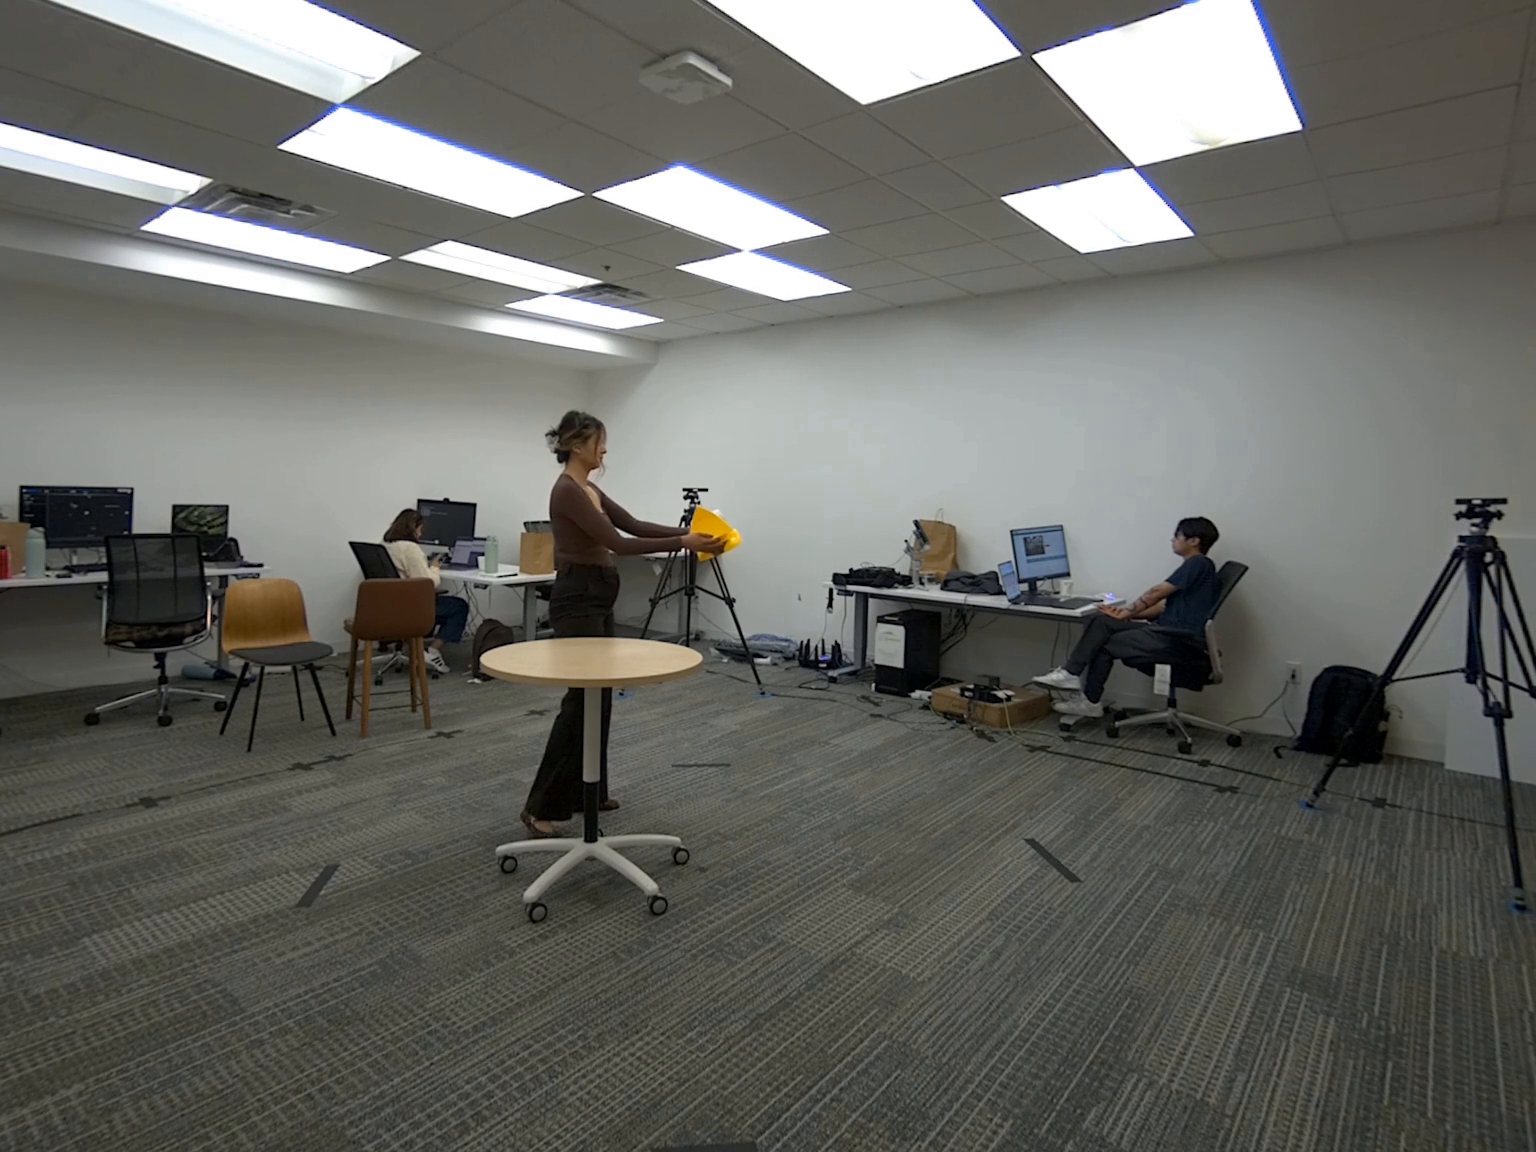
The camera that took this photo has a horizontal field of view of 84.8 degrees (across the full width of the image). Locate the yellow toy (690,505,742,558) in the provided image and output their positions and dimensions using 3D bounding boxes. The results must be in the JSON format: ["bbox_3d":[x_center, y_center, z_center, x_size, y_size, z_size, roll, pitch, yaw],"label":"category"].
[{"bbox_3d":[-0.262,-0.215,3.595,0.206,0.227,0.195,-22,15,10],"label":"yellow toy"}]
